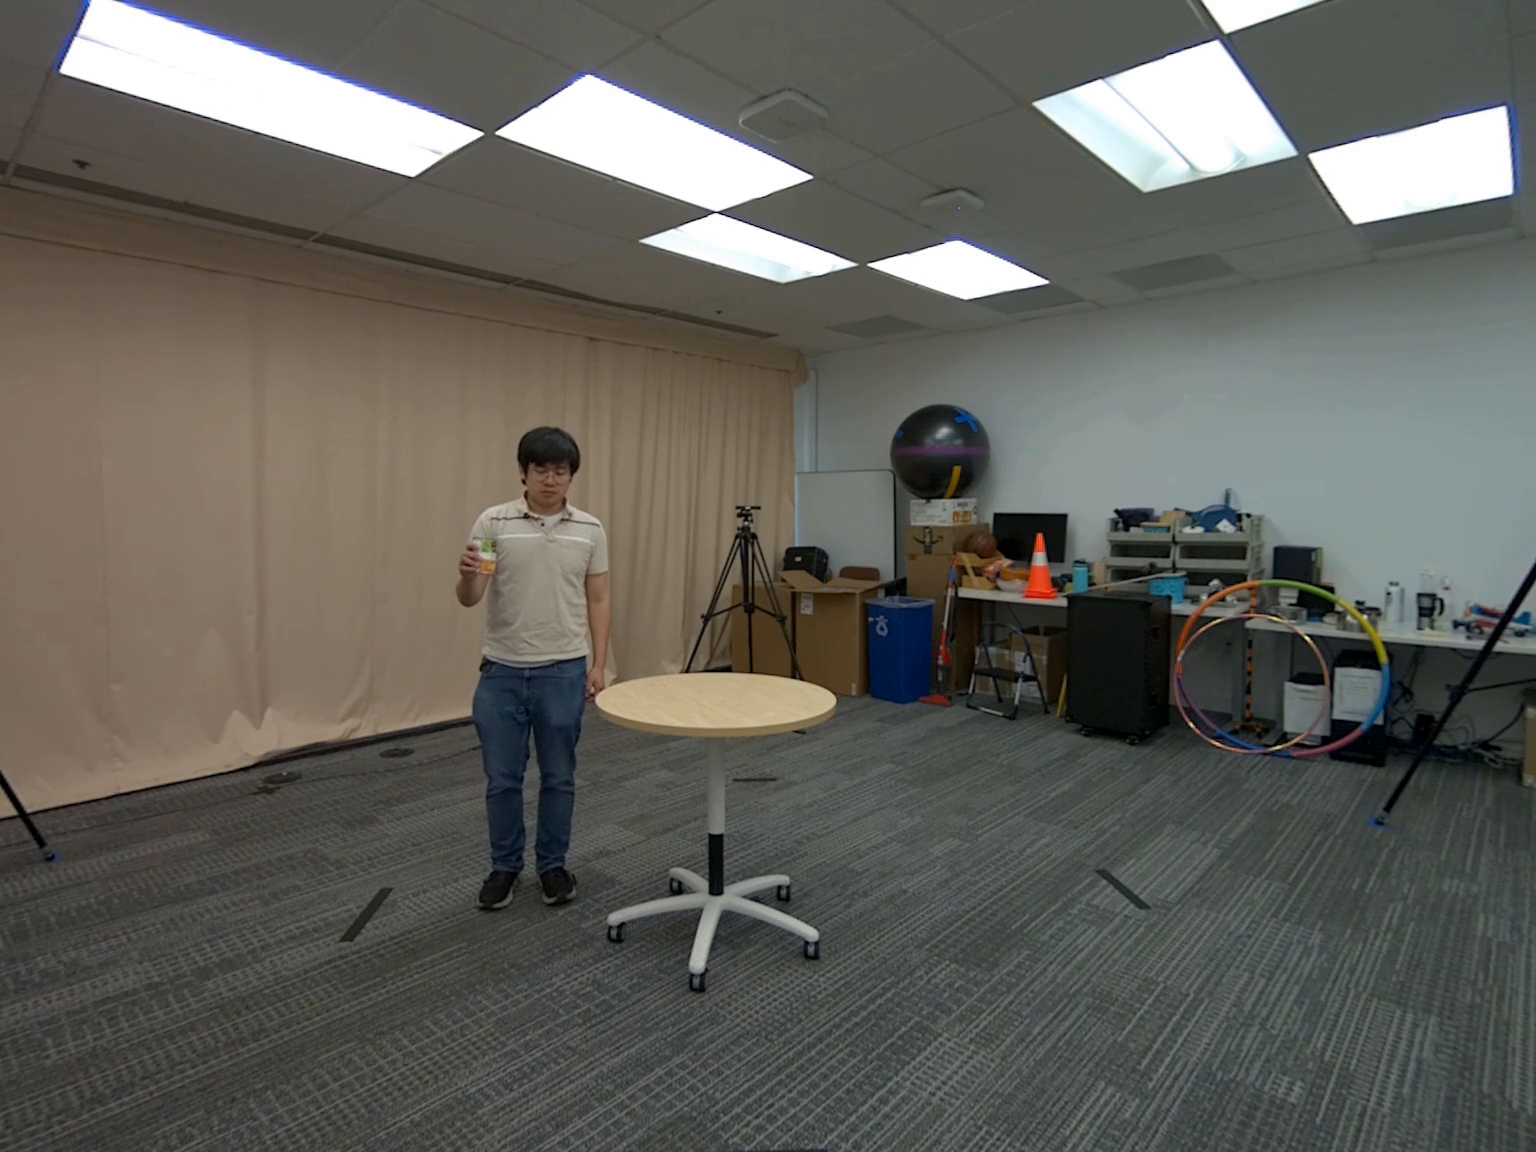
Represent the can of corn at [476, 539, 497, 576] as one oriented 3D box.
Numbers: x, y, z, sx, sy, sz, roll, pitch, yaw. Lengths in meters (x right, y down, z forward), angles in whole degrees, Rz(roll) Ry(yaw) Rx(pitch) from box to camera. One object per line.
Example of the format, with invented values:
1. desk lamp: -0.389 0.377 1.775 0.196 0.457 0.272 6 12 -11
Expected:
1. can of corn: -0.898 -0.056 2.601 0.074 0.111 0.074 -3 1 -2
